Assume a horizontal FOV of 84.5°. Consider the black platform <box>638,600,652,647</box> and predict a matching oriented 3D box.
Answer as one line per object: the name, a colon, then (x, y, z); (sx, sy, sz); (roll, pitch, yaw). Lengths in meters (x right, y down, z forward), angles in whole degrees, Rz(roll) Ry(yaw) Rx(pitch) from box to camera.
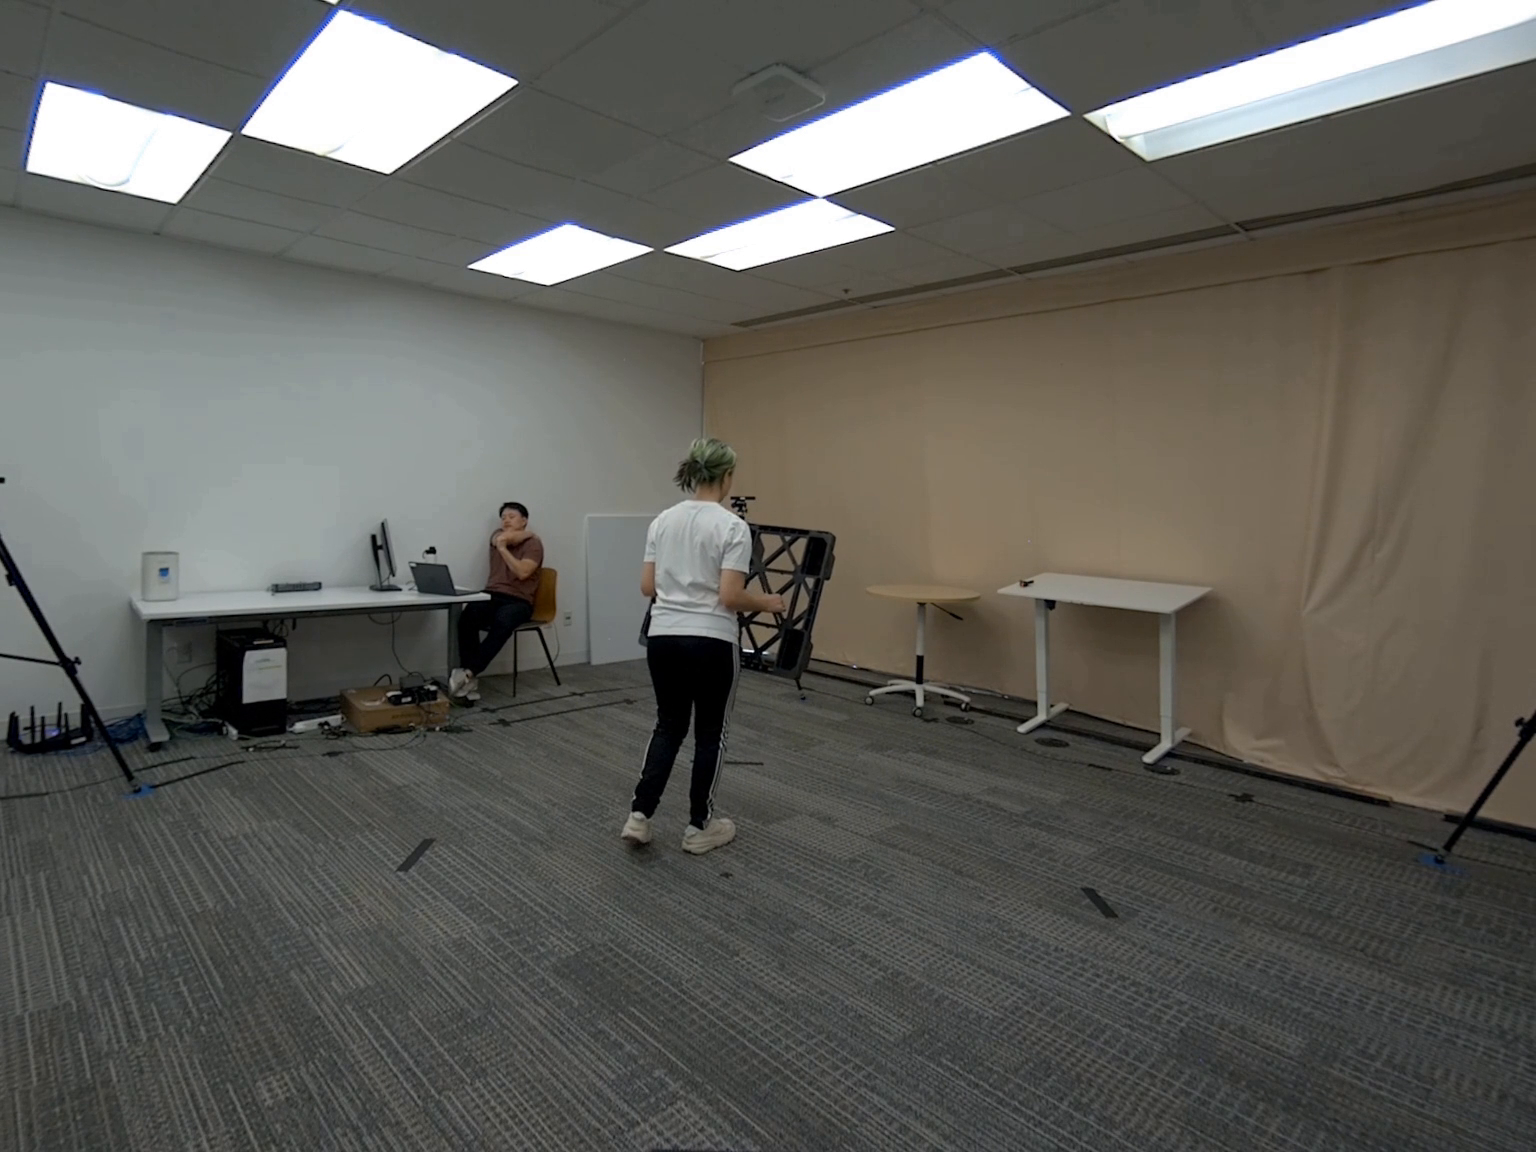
black platform: (-0.127, 0.085, 3.528); (0.825, 0.608, 0.139); (8, -13, 34)
